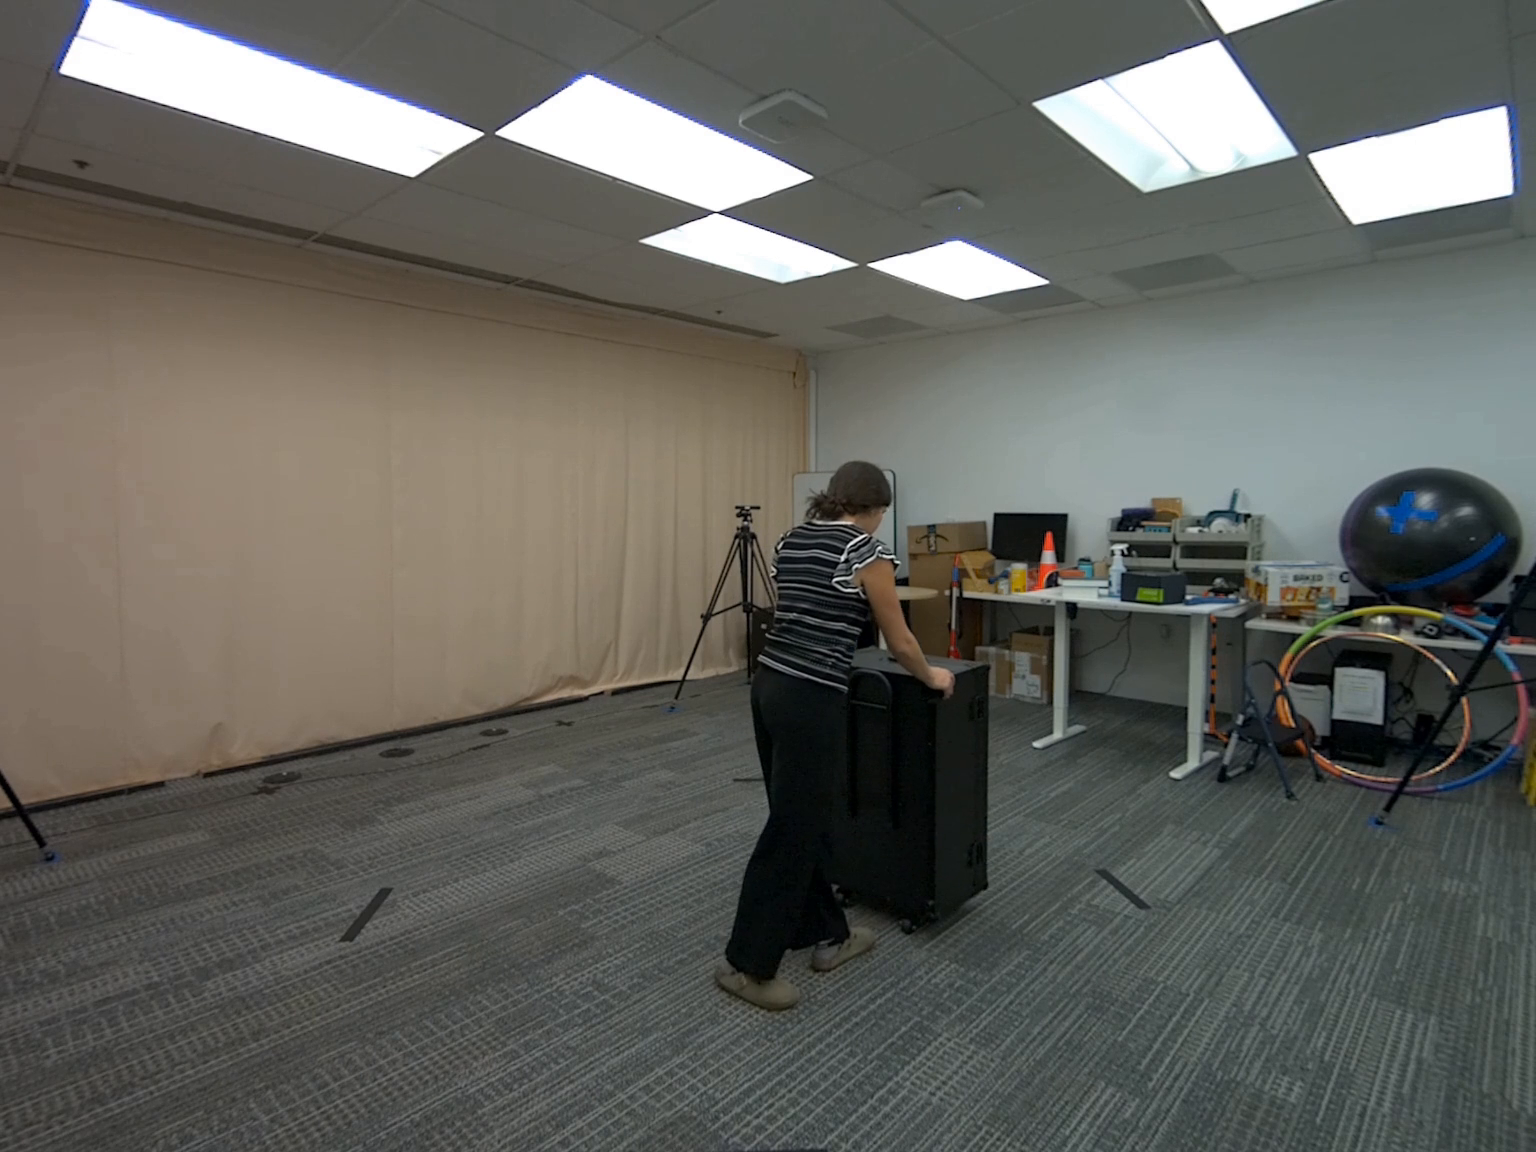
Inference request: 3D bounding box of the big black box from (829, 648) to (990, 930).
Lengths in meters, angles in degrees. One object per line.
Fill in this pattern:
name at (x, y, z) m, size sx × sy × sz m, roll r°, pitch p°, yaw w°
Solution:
big black box at (0.464, 0.722, 2.922) m, size 0.539 × 0.859 × 0.384 m, roll 3°, pitch 5°, yaw 43°
